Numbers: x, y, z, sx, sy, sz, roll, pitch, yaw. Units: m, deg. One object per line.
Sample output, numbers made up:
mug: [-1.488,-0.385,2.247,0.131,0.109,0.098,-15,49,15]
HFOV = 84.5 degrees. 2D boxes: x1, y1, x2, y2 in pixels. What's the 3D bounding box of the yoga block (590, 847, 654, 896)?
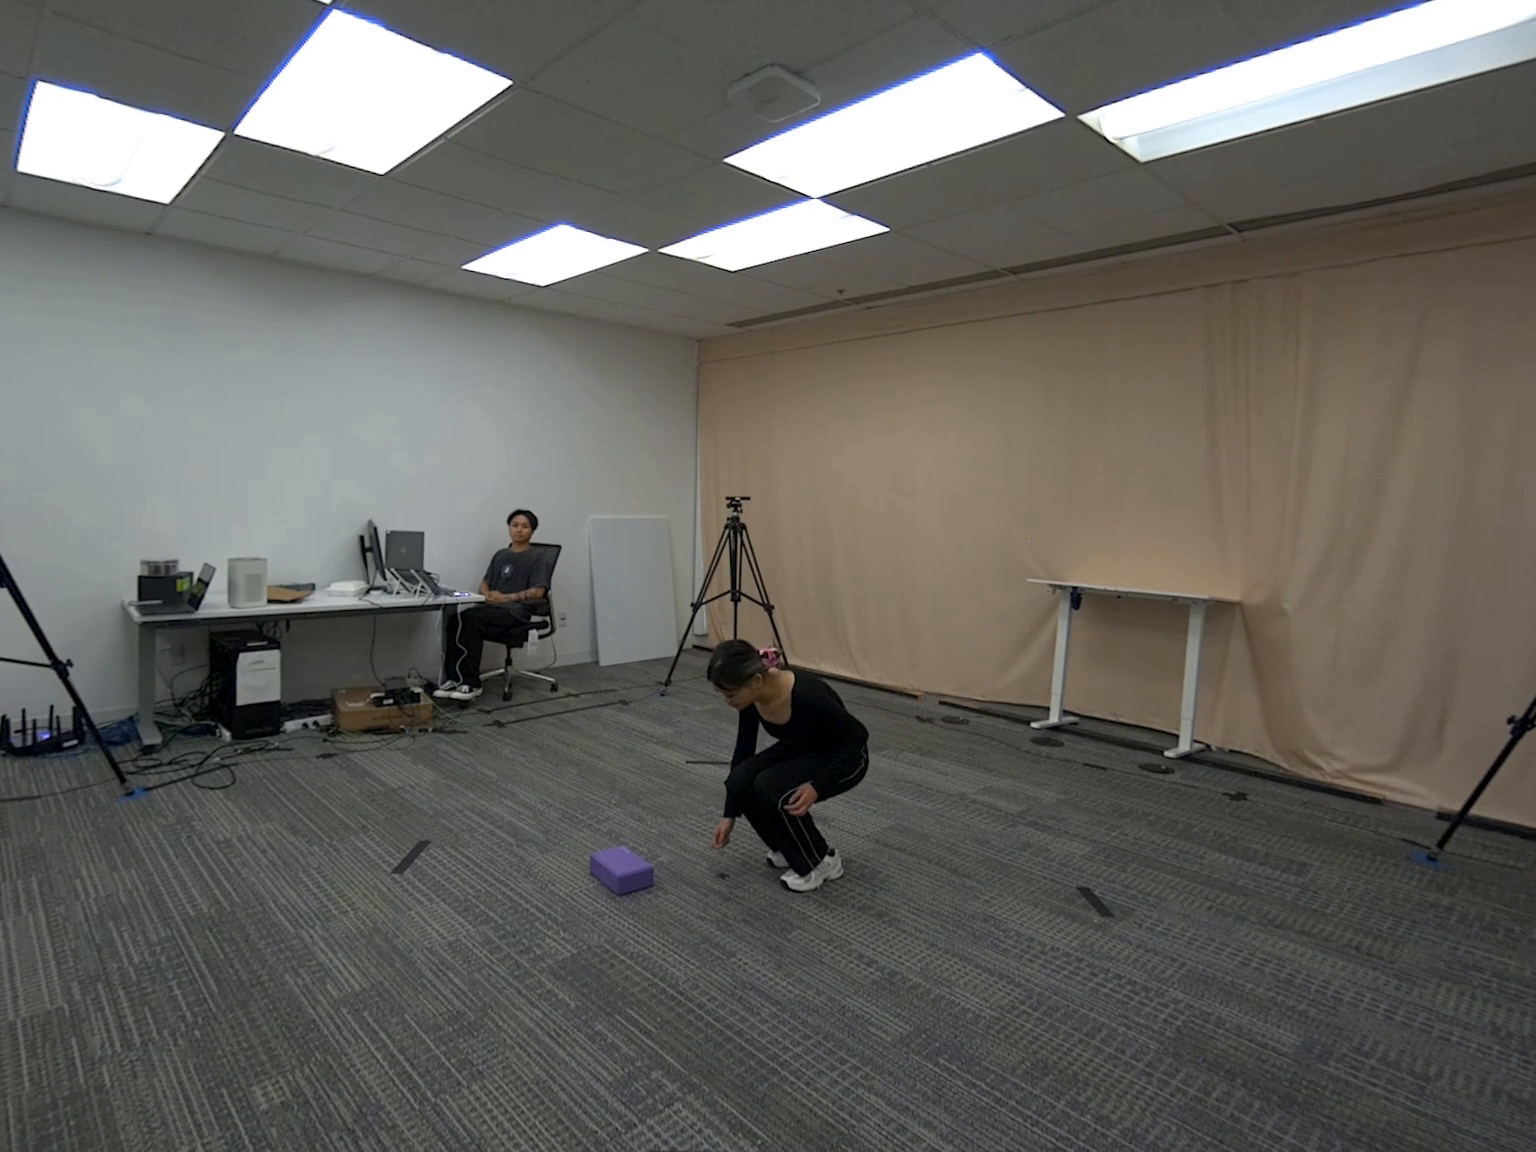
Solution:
yoga block: [-0.535,1.059,3.051,0.146,0.076,0.235,-3,6,-38]
